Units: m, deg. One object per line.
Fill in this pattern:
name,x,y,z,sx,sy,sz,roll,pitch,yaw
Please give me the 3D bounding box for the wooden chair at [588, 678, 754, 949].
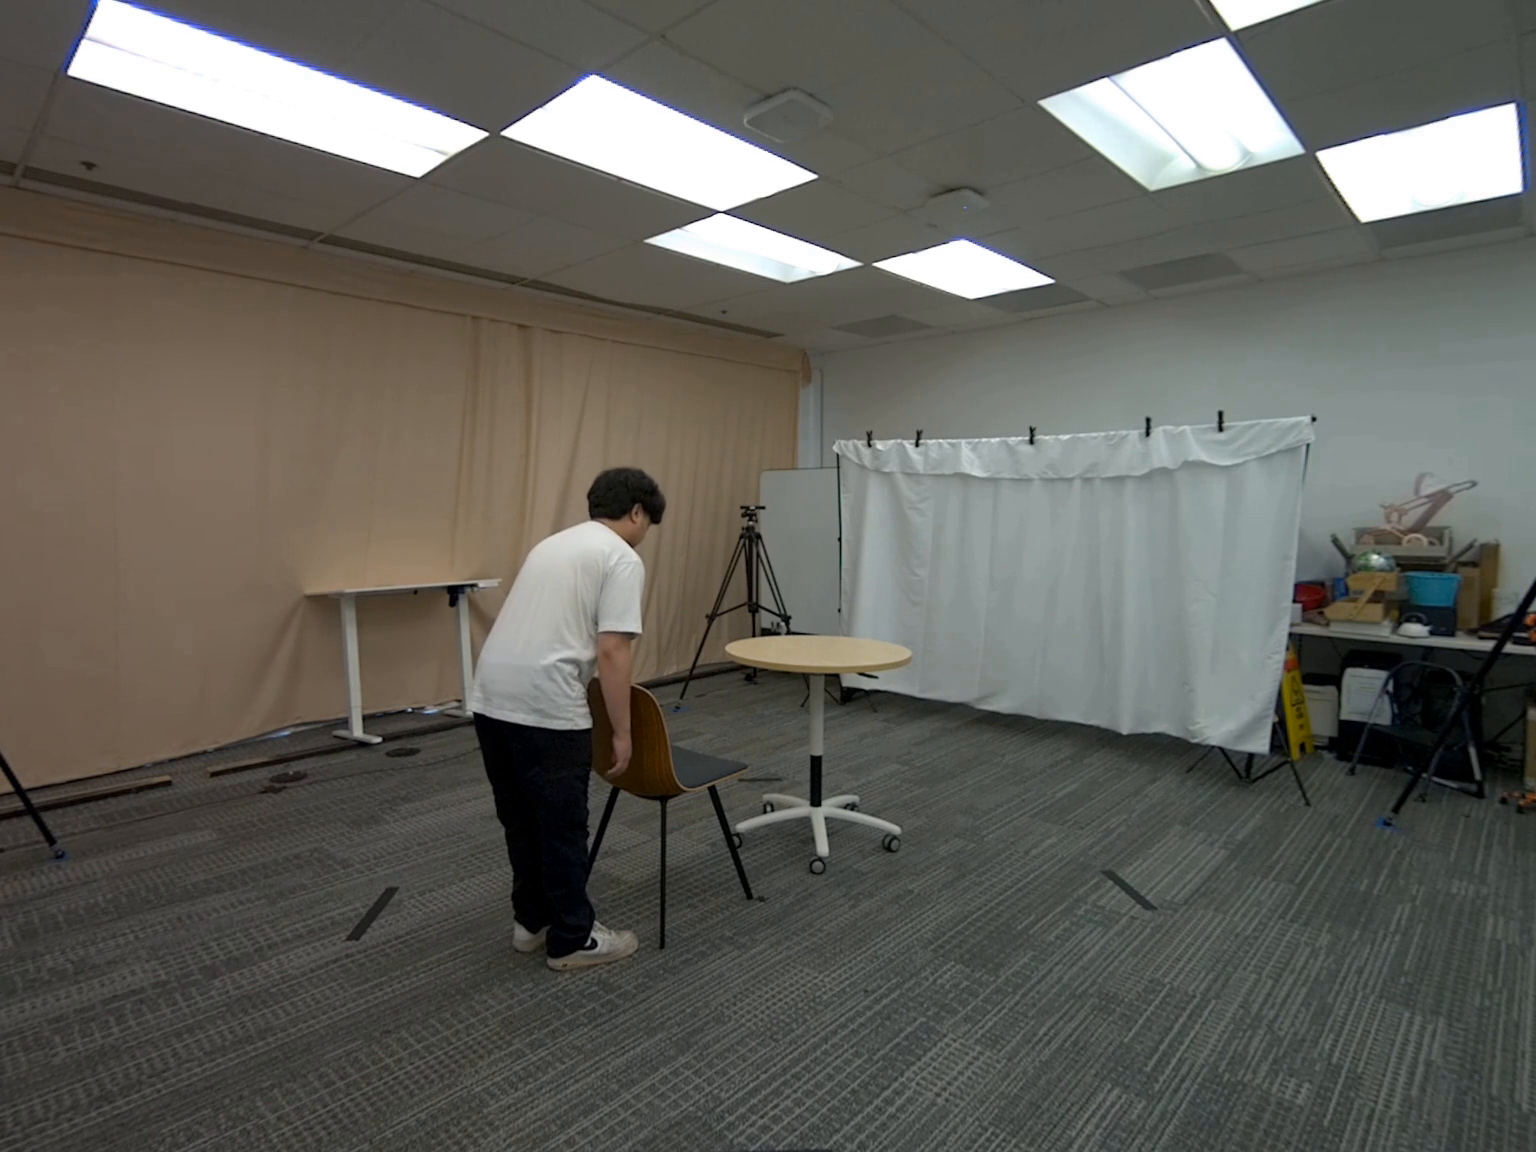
wooden chair,-0.359,0.722,2.940,0.494,0.873,0.508,2,8,40
